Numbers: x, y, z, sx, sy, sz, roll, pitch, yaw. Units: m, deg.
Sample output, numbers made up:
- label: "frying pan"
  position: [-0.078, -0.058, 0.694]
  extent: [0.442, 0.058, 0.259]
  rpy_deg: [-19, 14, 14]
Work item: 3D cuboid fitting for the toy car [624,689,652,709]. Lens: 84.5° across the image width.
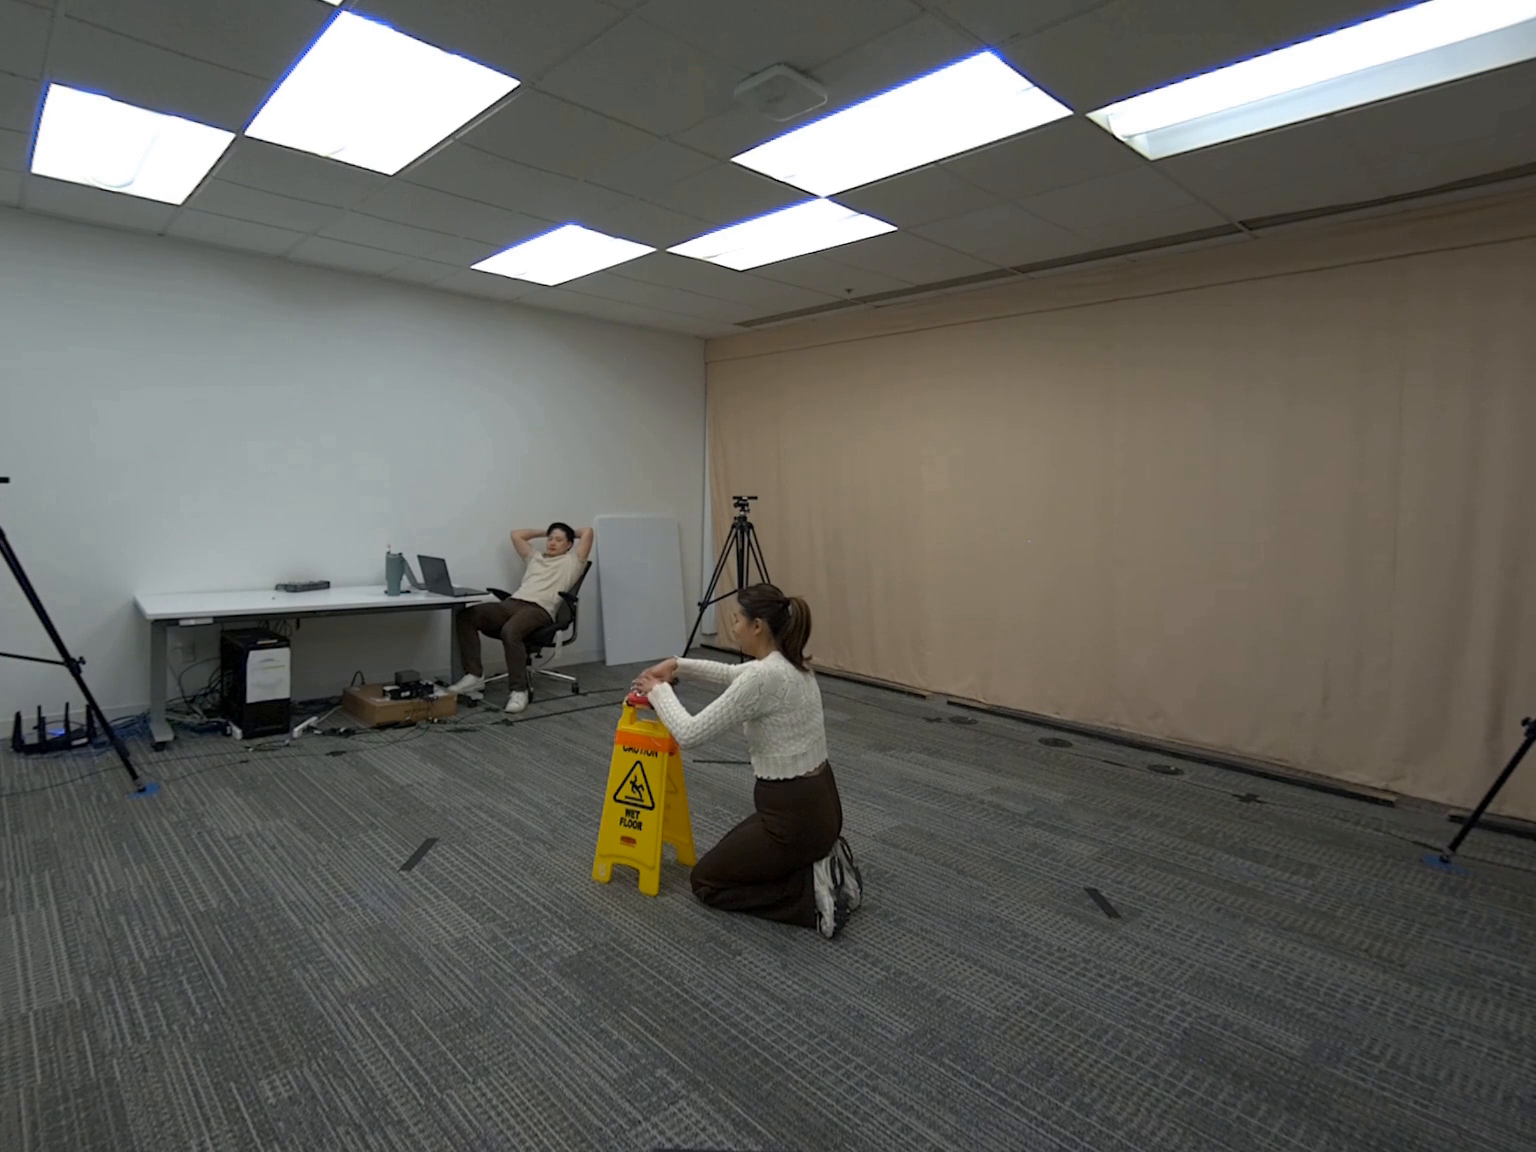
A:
- label: "toy car"
  position: [-0.423, 0.424, 3.093]
  extent: [0.131, 0.082, 0.257]
  rpy_deg: [7, 27, 7]
